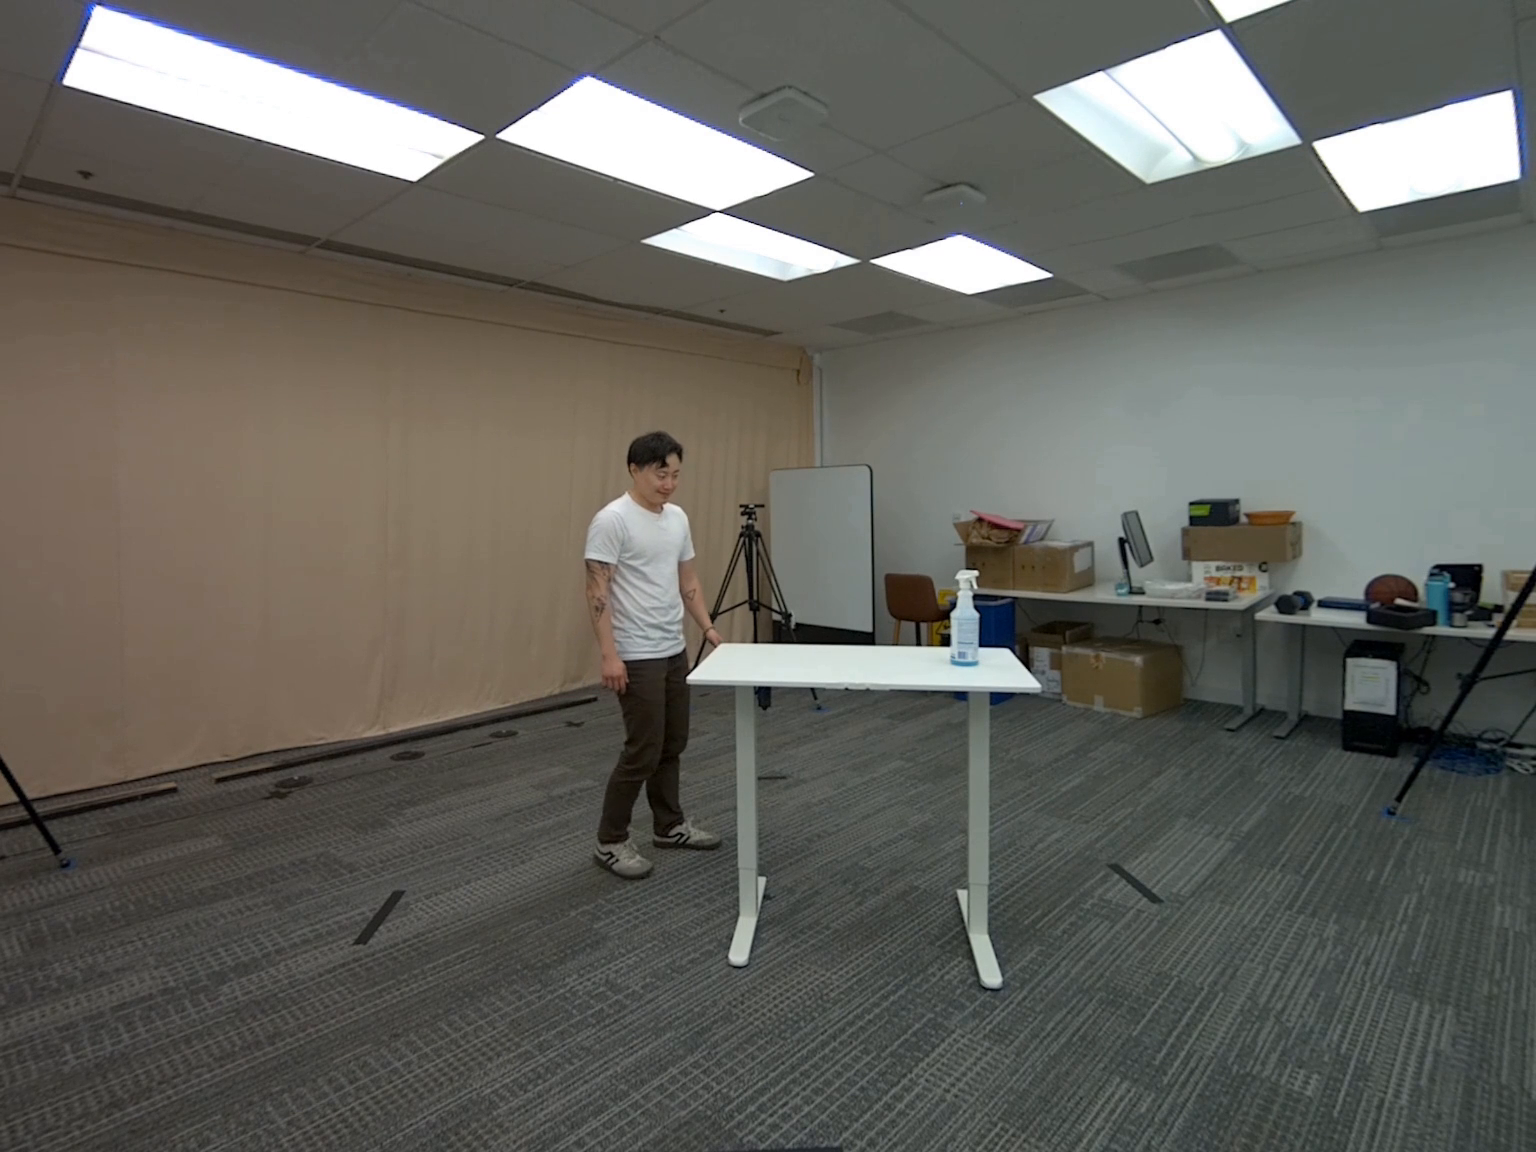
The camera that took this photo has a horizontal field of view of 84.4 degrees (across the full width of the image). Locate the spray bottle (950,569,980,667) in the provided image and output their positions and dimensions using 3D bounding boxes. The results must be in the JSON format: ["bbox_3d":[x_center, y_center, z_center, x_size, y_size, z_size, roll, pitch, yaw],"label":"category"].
[{"bbox_3d":[0.621,0.132,2.629,0.087,0.296,0.090,-1,4,-3],"label":"spray bottle"}]
